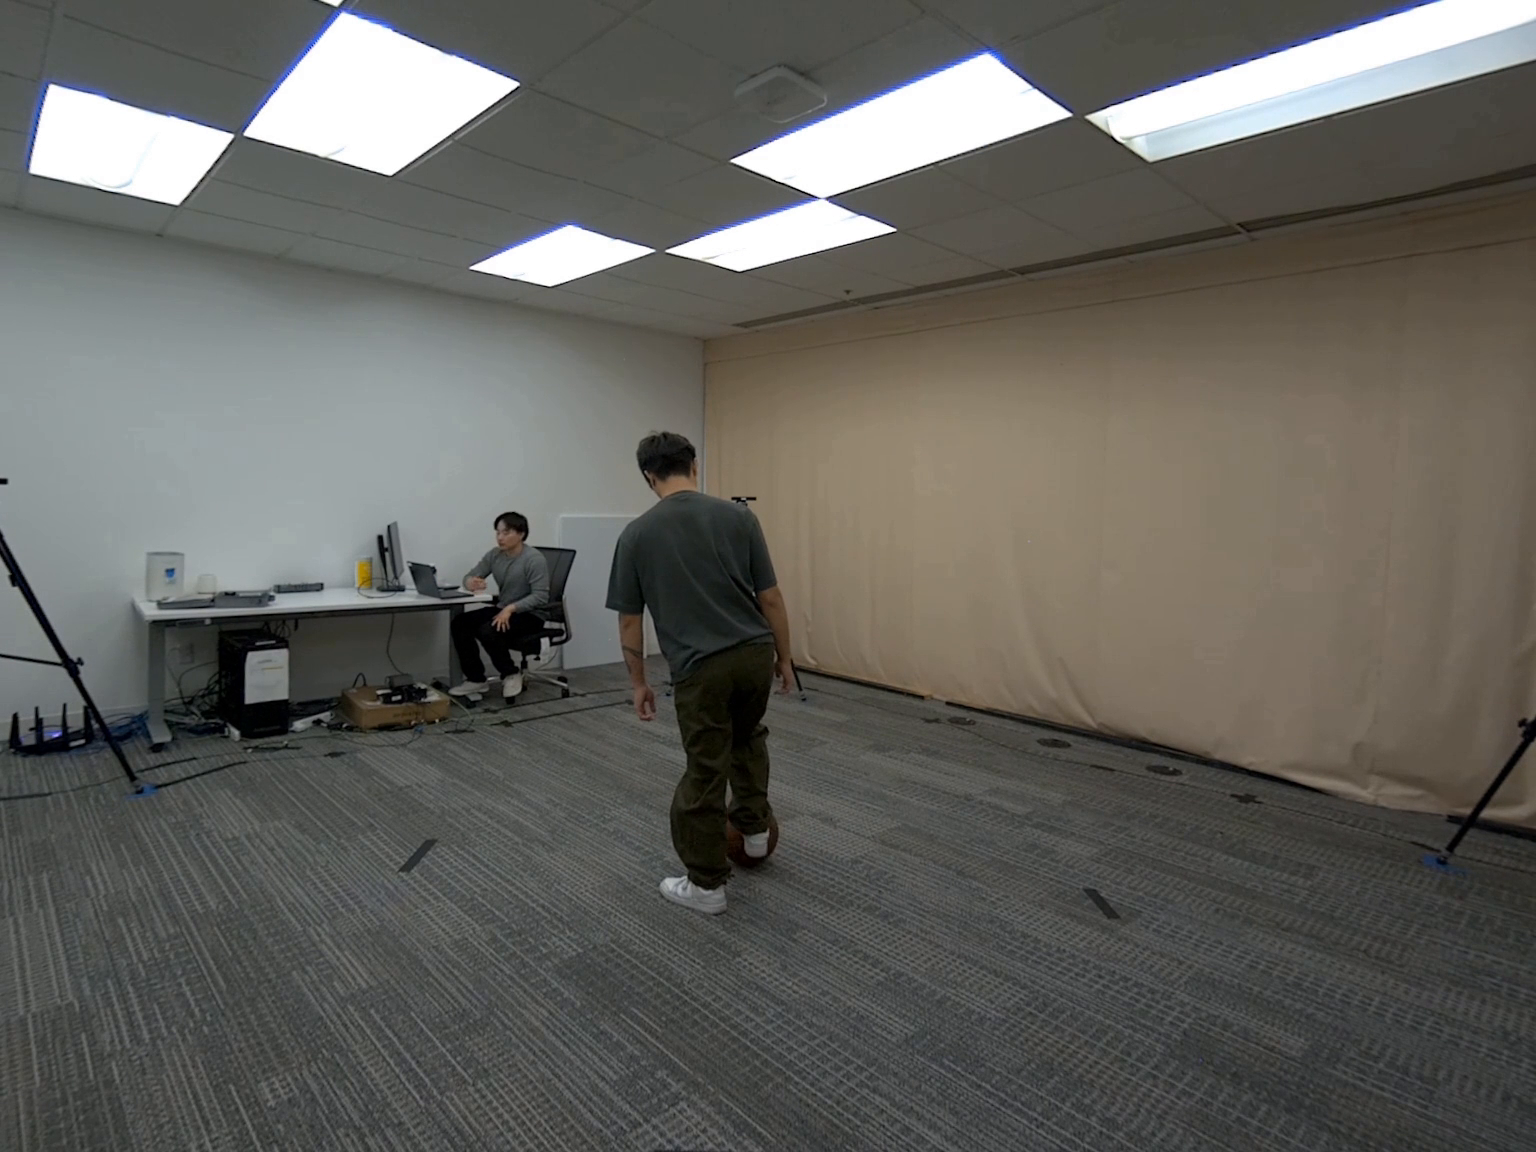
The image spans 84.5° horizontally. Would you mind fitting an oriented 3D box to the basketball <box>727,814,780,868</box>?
[{"bbox_3d":[-0.090,0.980,3.214,0.236,0.235,0.237,1,4,-1],"label":"basketball"}]
